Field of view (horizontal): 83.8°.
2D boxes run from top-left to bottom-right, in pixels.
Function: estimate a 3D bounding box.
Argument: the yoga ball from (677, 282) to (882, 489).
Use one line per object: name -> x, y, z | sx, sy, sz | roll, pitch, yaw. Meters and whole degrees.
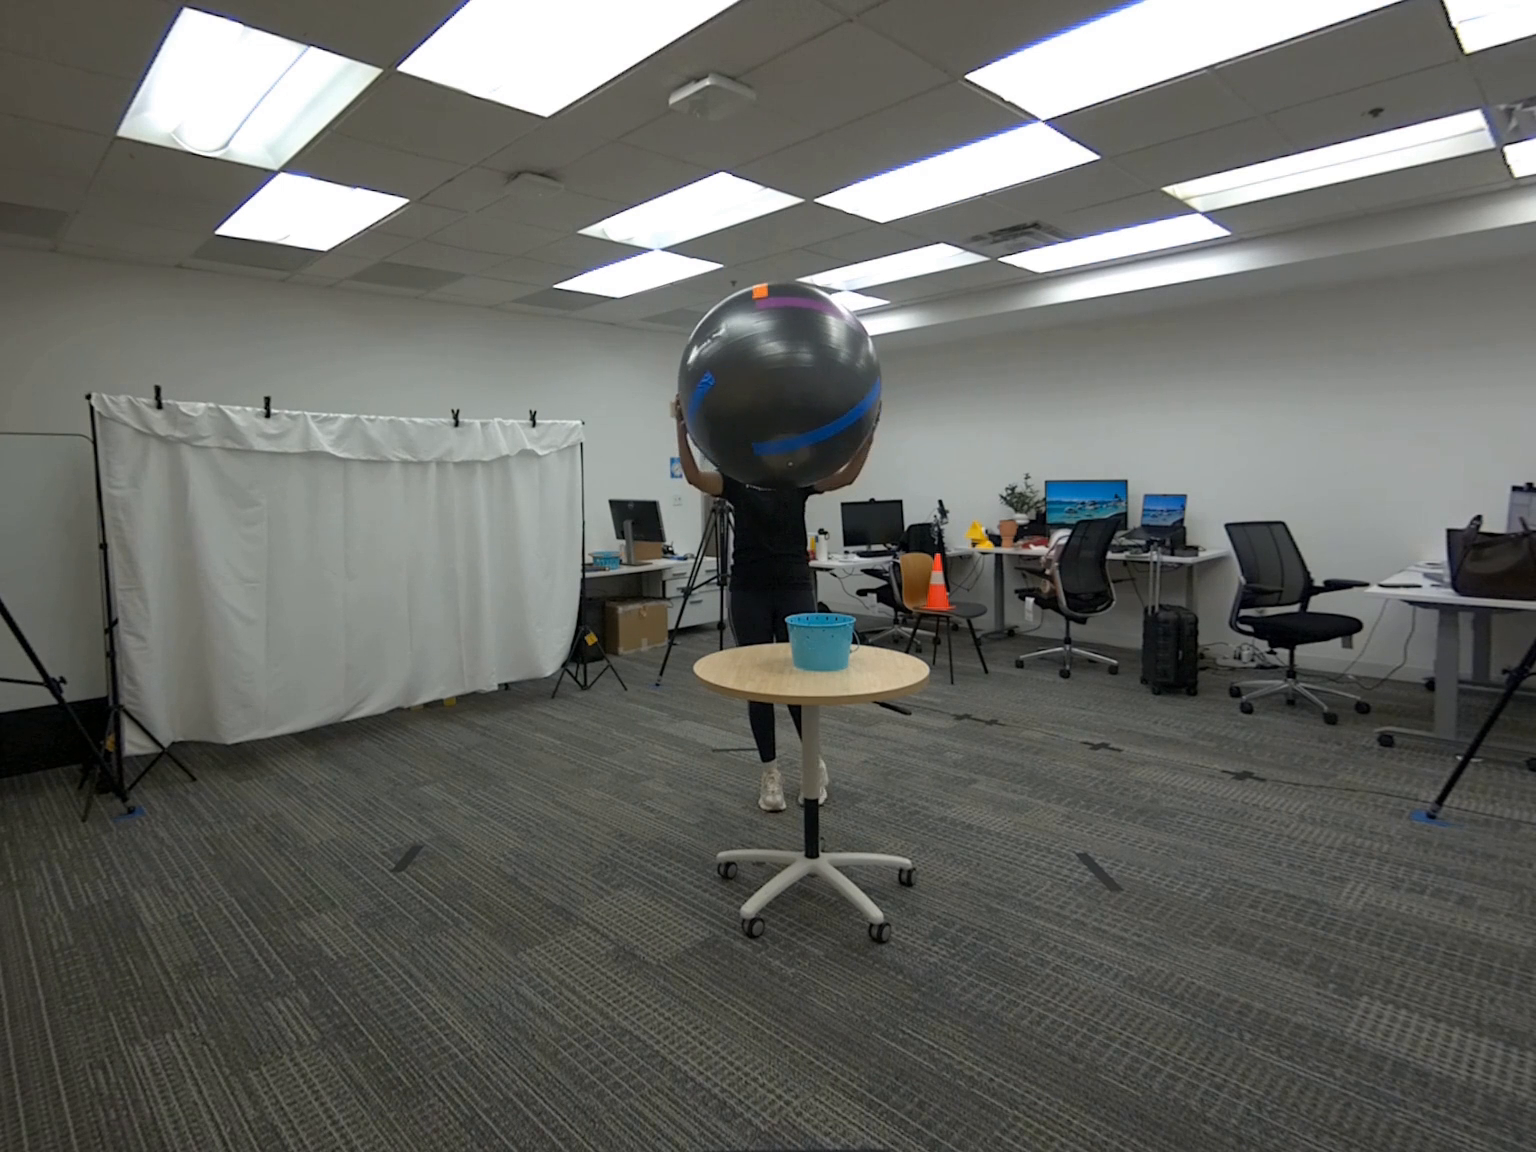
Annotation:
yoga ball -> 0.035, -0.699, 3.184 | 0.757, 0.755, 0.762 | -1, 5, -2
